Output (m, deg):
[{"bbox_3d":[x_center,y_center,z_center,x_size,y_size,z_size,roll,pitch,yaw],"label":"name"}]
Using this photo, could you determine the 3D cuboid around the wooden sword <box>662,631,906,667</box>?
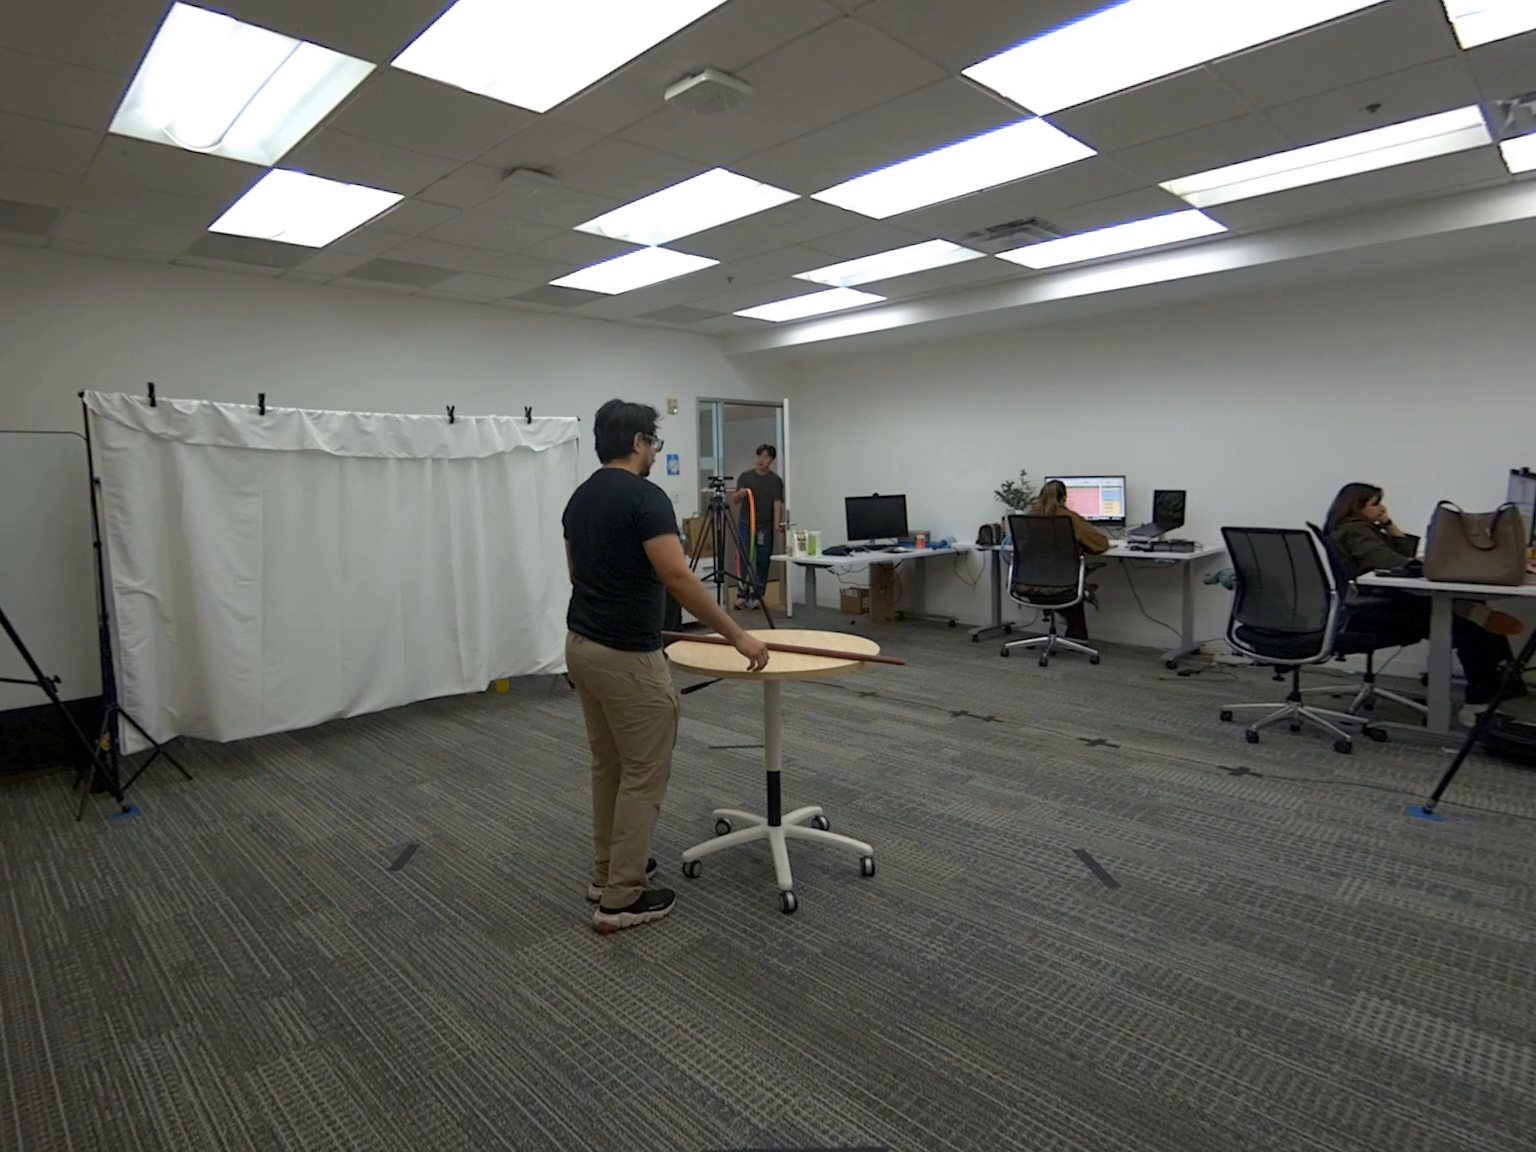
[{"bbox_3d":[0.022,0.248,3.011,1.054,0.024,0.049,4,-33,34],"label":"wooden sword"}]
